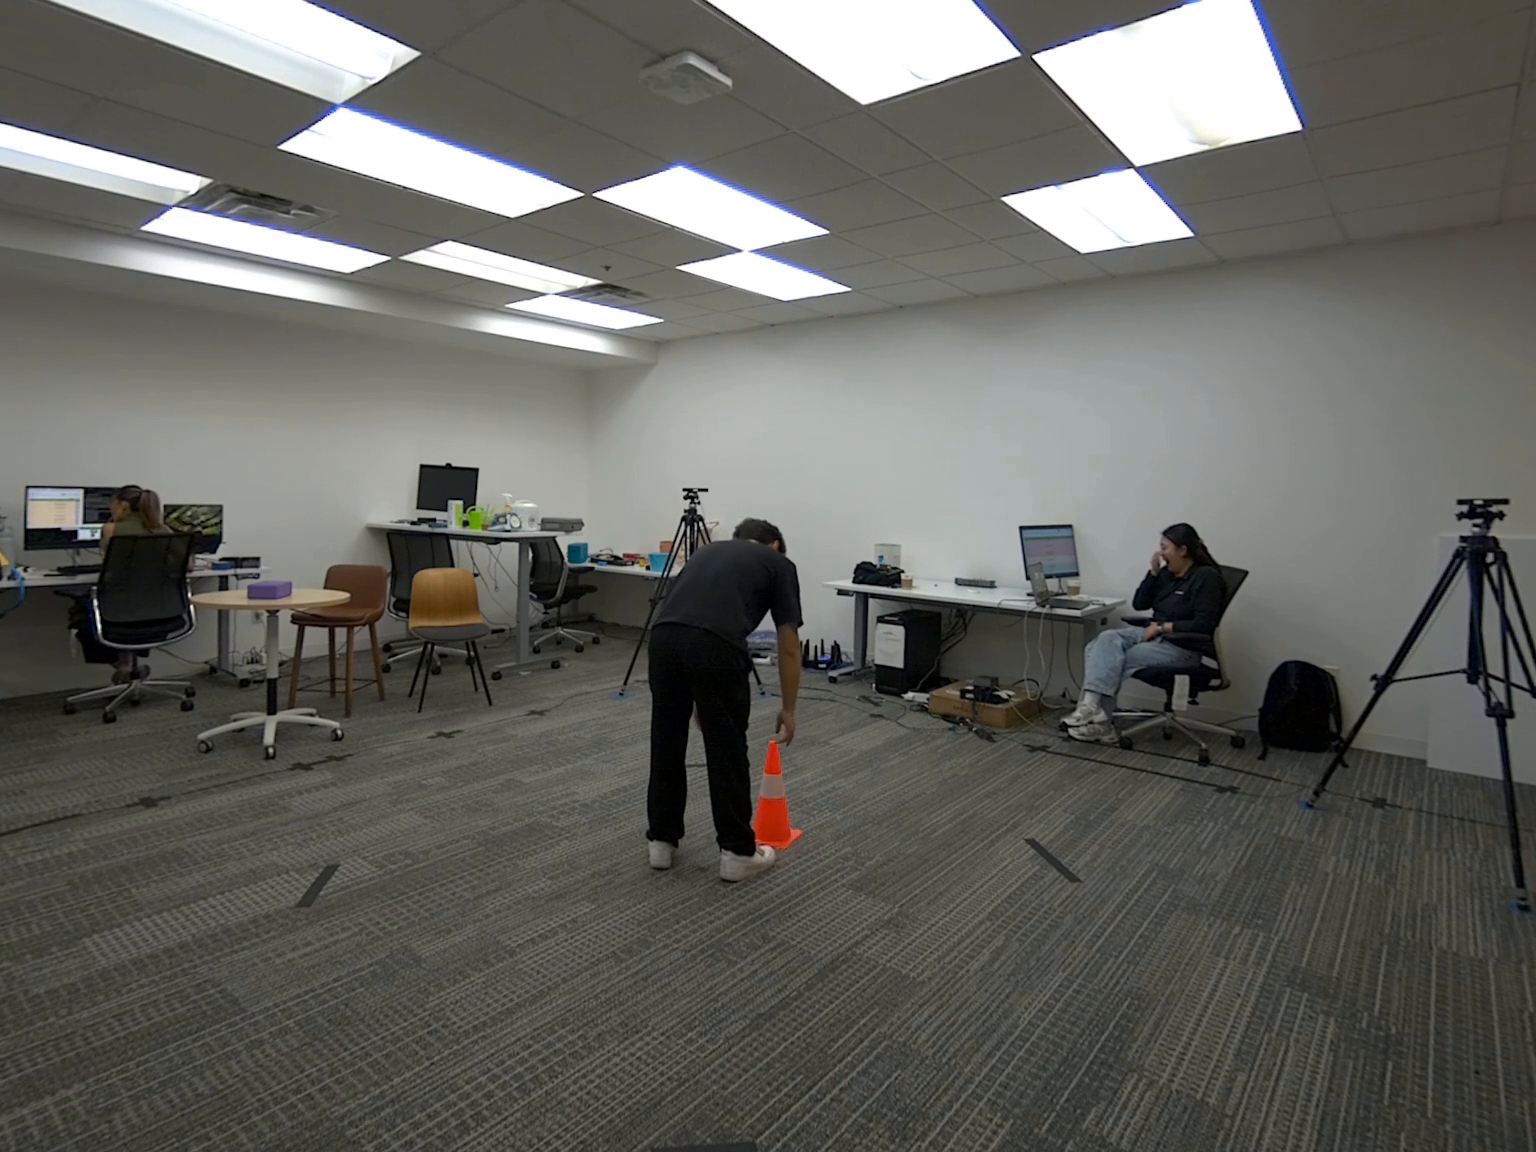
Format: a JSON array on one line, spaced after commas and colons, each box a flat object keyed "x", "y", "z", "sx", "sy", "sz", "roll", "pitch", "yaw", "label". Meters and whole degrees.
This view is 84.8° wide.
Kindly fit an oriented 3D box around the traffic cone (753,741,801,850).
[{"x": 0.011, "y": 0.857, "z": 3.429, "sx": 0.209, "sy": 0.383, "sz": 0.199, "roll": 3, "pitch": 3, "yaw": 30, "label": "traffic cone"}]
